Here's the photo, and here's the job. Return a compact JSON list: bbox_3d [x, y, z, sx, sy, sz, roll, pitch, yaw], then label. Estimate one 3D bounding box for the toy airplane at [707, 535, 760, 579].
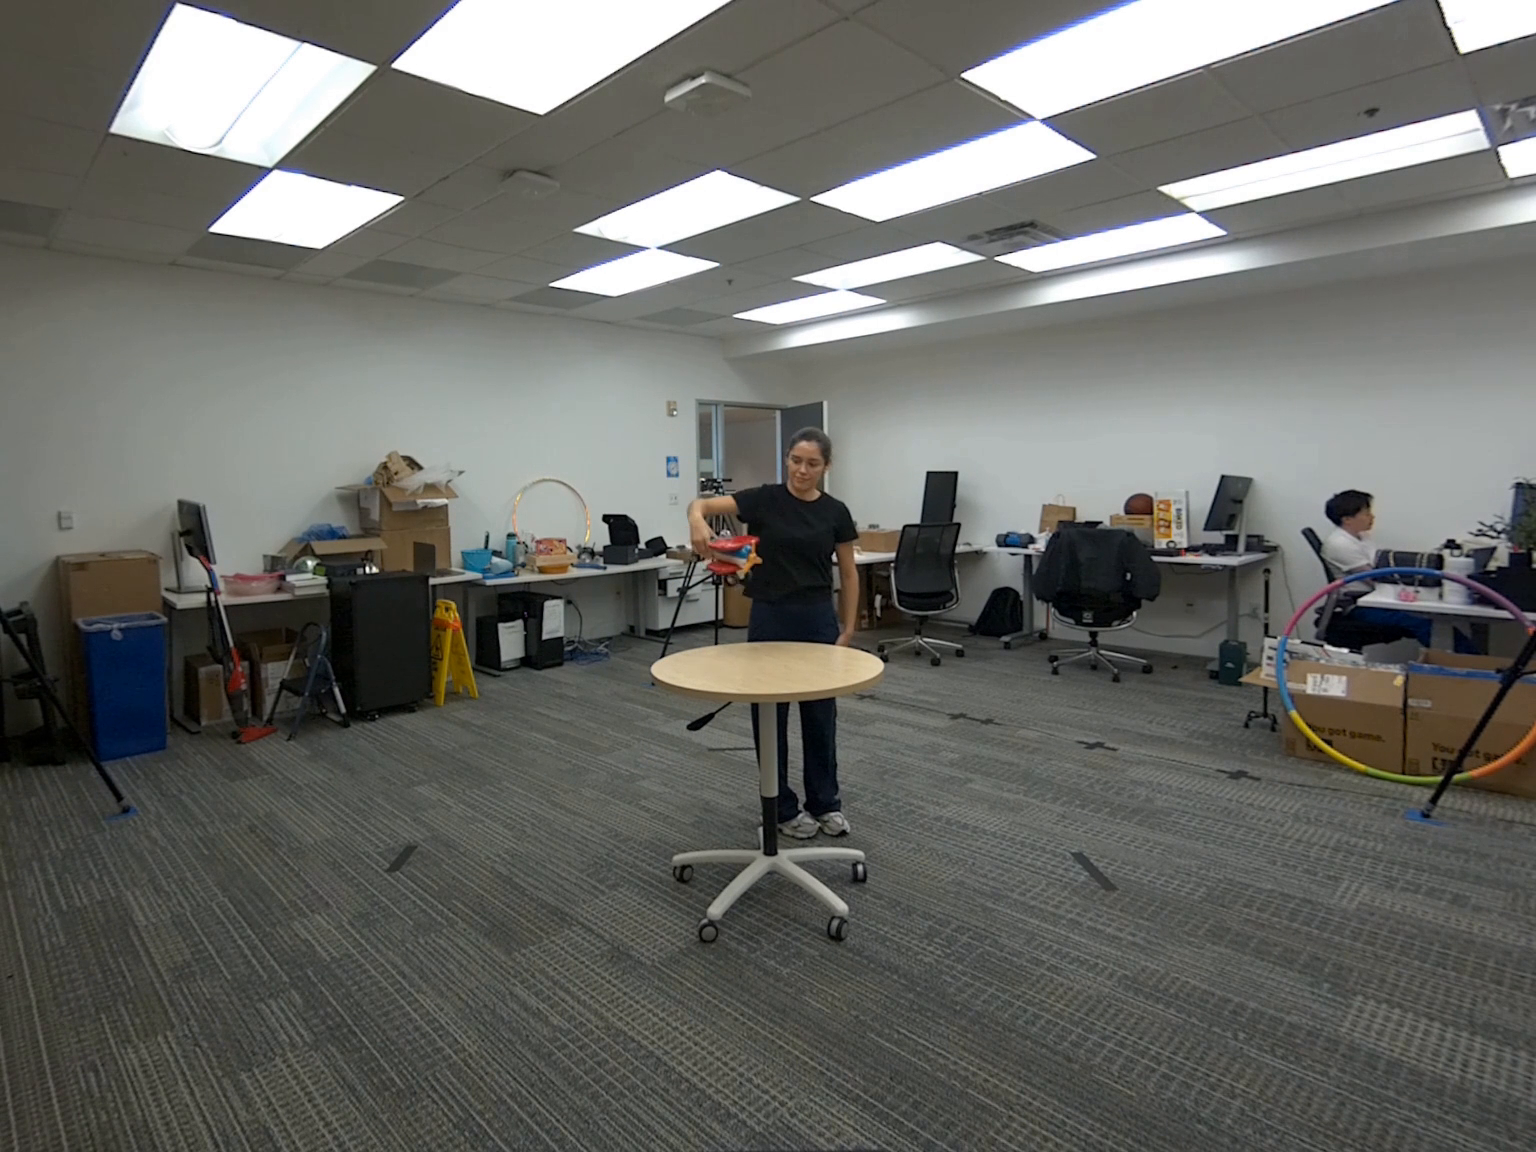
[{"bbox_3d":[-0.165,-0.079,3.014,0.260,0.155,0.253,19,20,1],"label":"toy airplane"}]
